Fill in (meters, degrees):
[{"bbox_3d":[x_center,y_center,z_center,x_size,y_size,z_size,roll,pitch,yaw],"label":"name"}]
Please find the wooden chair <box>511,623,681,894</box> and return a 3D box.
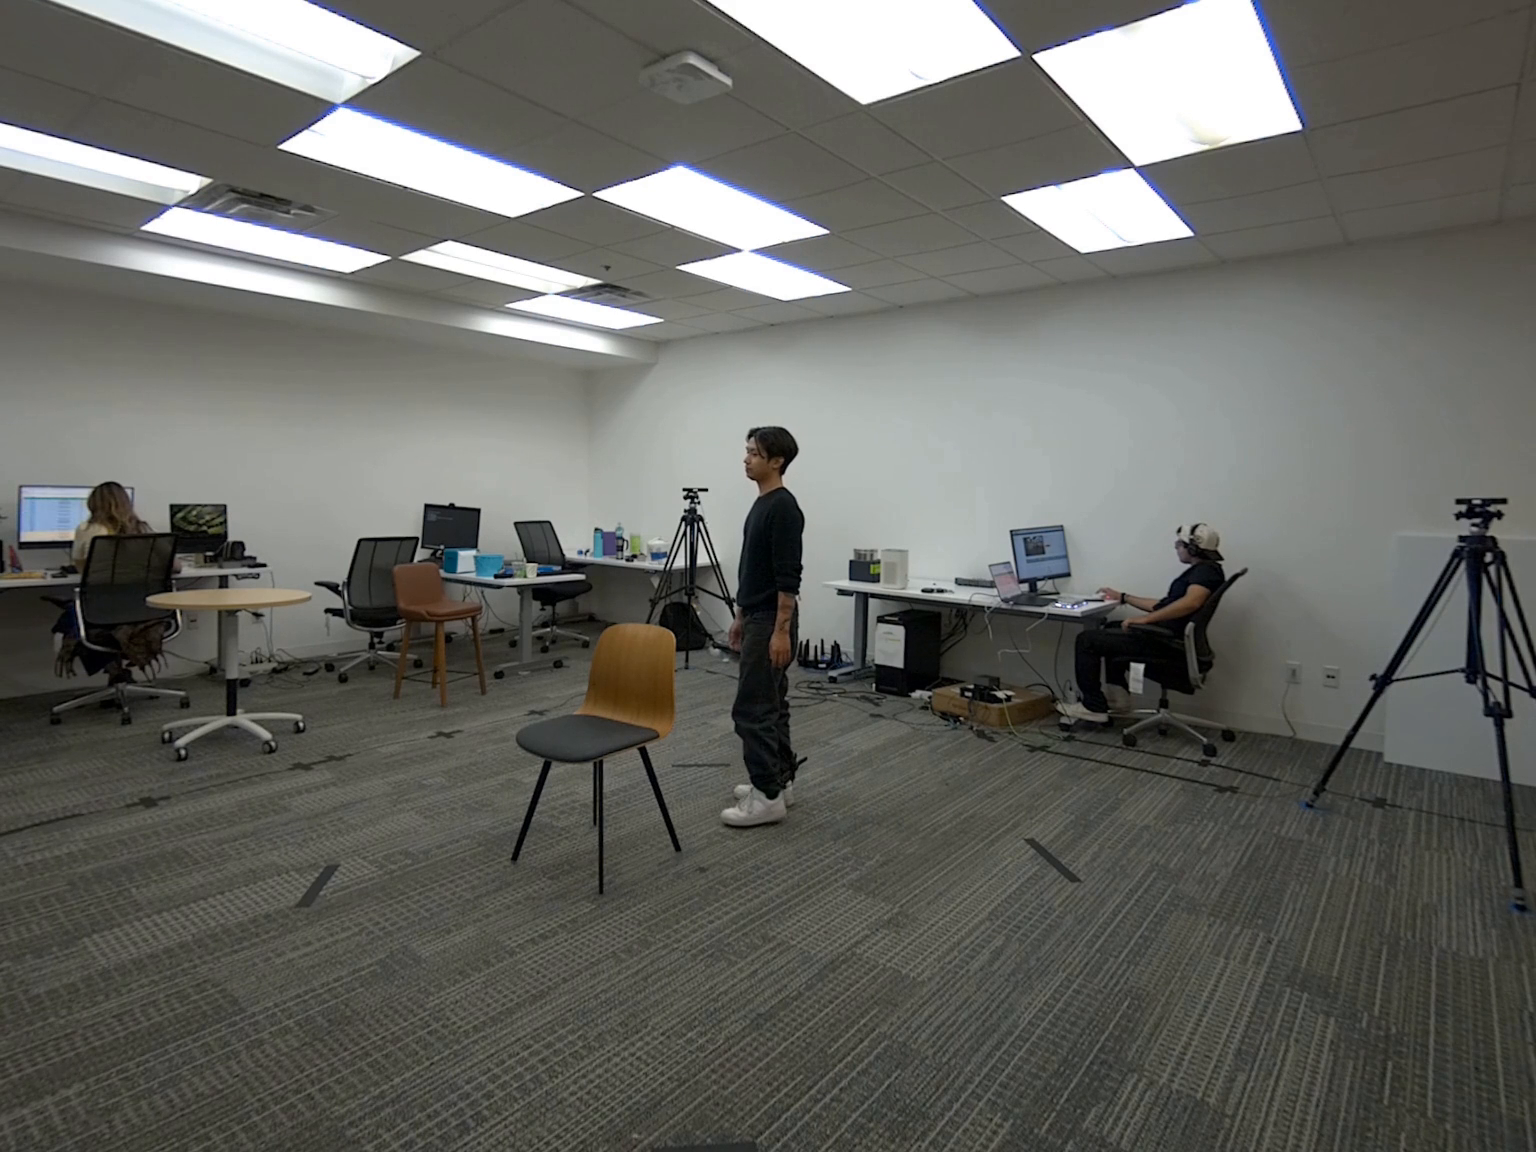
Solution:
[{"bbox_3d":[-0.644,0.627,3.170,0.493,0.878,0.507,3,-1,33],"label":"wooden chair"}]
